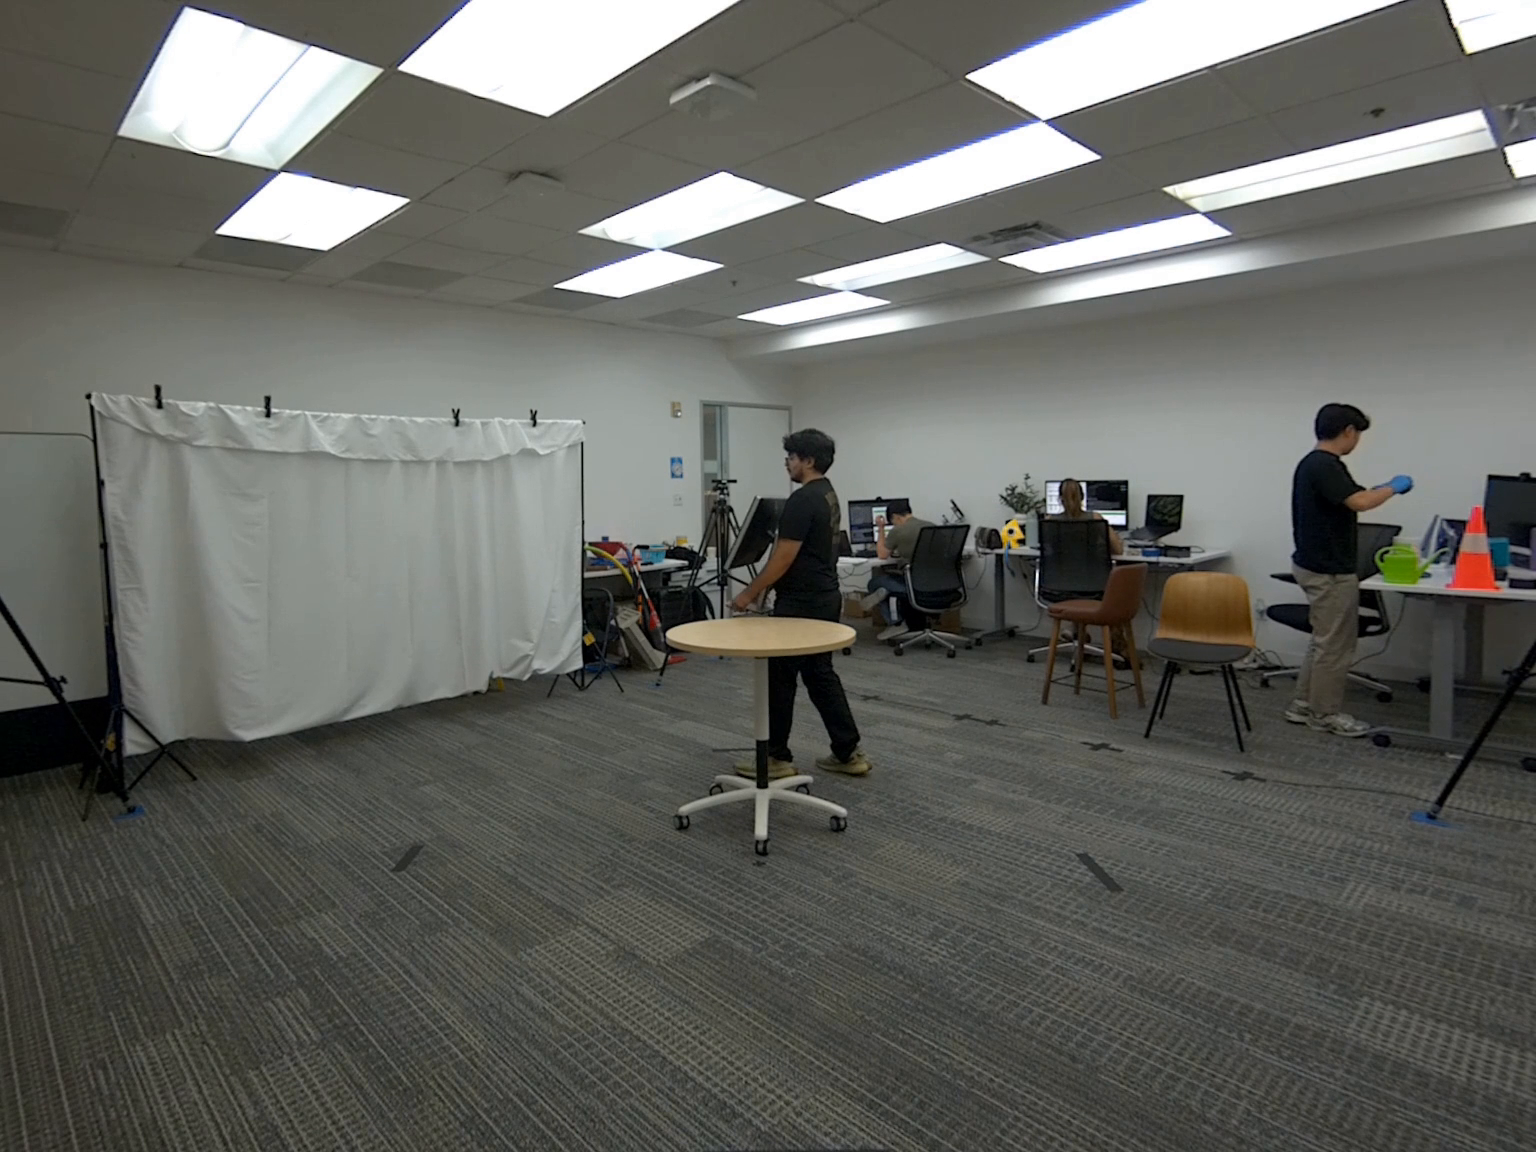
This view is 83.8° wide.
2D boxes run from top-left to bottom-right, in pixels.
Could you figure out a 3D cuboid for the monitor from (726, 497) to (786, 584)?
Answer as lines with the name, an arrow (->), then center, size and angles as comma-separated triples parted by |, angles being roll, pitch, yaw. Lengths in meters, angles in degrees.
monitor -> -0.008, -0.109, 4.059 | 0.214, 0.551, 0.557 | 20, 9, 14
